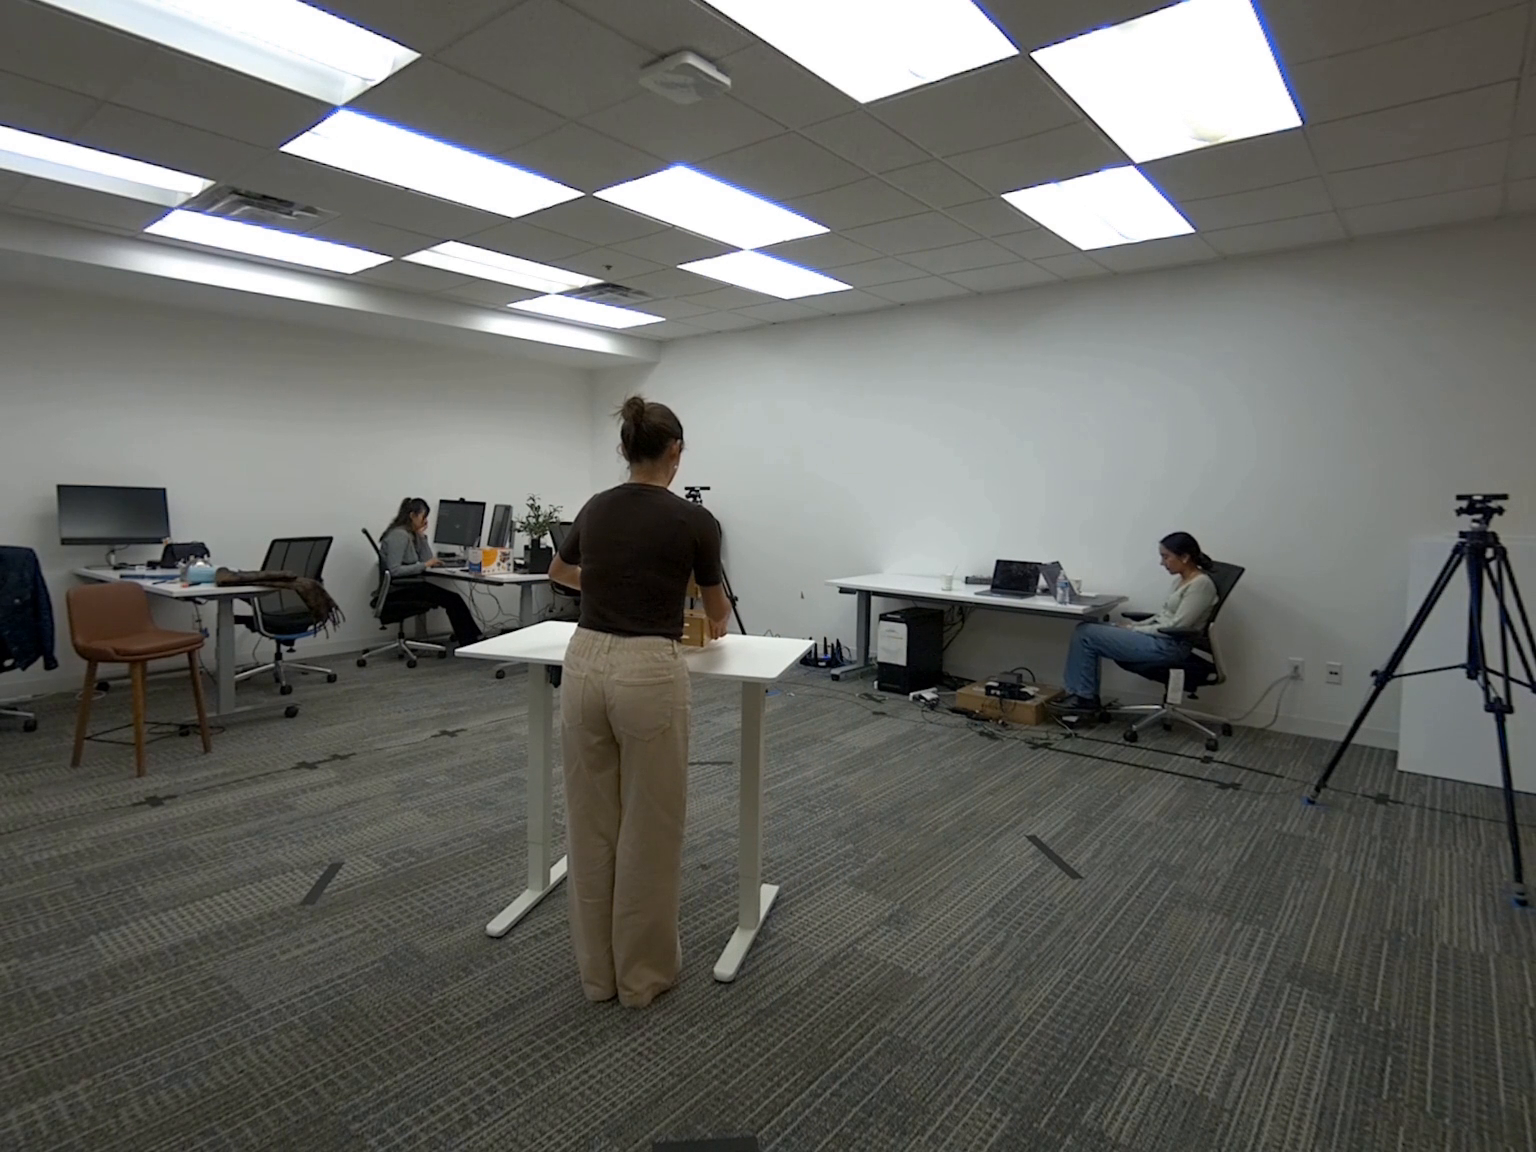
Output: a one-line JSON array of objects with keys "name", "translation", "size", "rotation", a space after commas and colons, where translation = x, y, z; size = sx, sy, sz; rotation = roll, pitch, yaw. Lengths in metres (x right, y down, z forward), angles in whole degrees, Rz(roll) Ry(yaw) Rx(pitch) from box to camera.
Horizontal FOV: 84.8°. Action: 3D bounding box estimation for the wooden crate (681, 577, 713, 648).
[{"name": "wooden crate", "translation": [-0.327, 0.057, 2.713], "size": [0.330, 0.270, 0.300], "rotation": [4, 12, 15]}]
